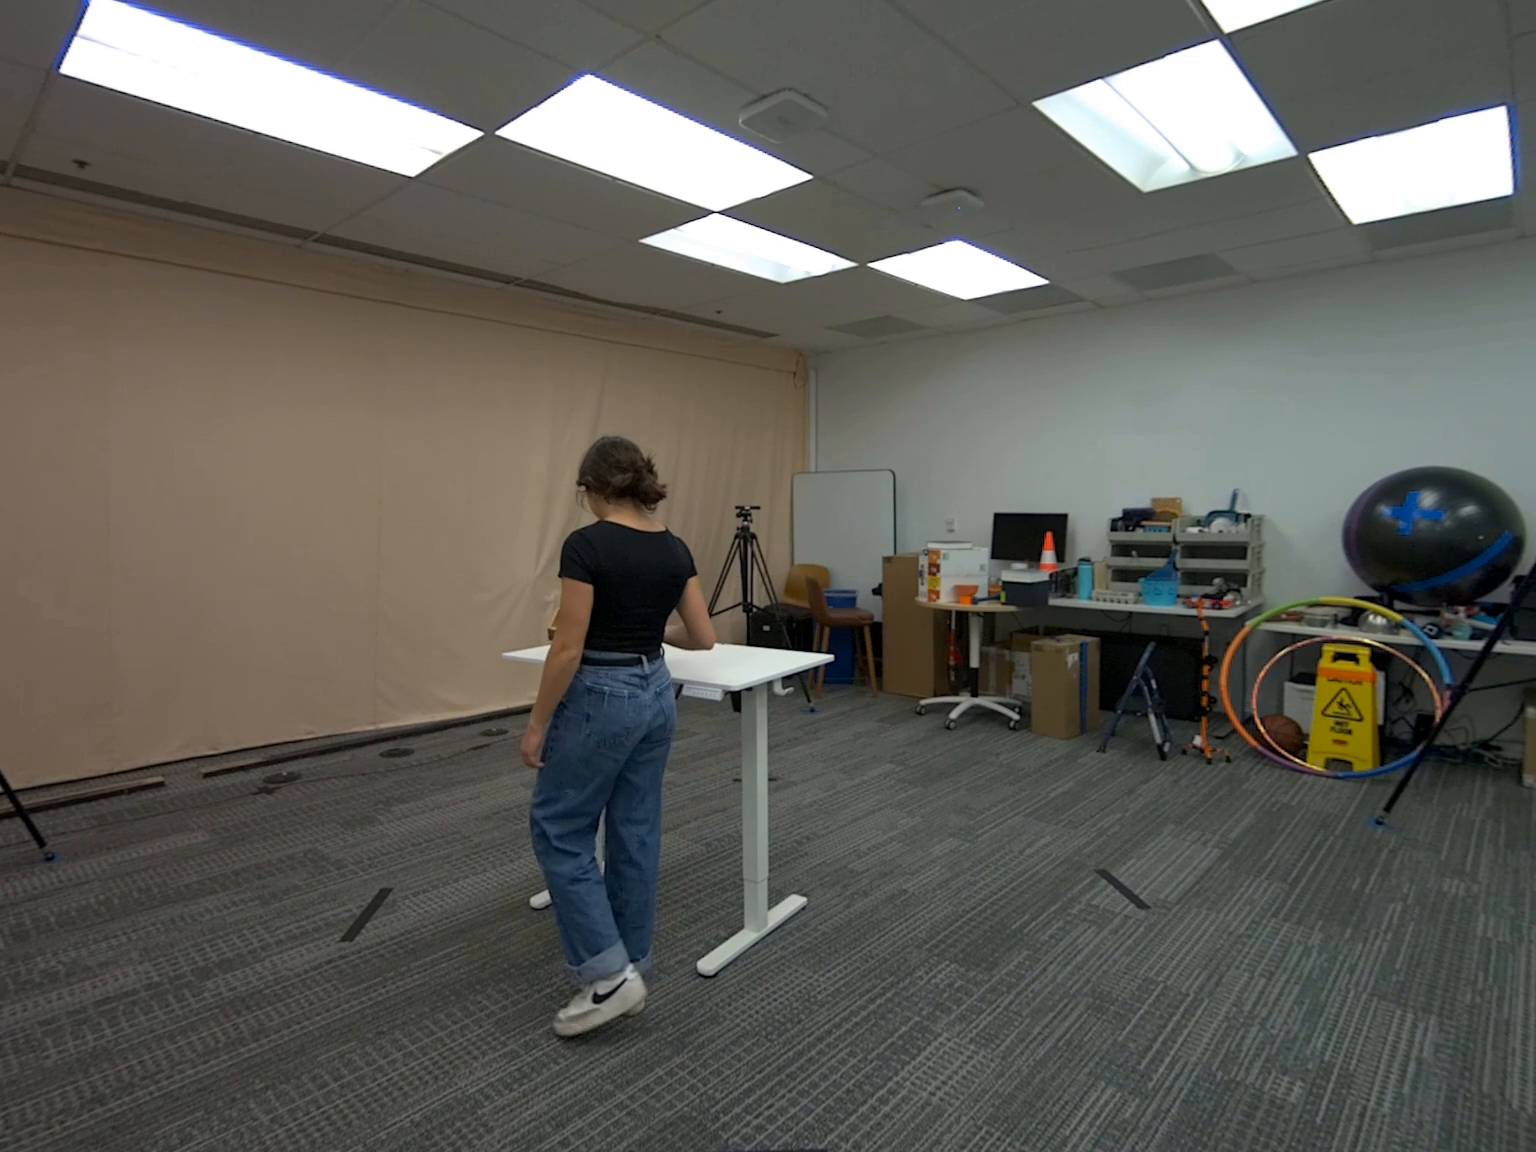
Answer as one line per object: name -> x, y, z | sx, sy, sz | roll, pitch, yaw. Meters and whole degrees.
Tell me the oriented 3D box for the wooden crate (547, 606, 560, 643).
wooden crate -> -0.509, 0.069, 2.707 | 0.327, 0.272, 0.301 | 8, 10, 7
